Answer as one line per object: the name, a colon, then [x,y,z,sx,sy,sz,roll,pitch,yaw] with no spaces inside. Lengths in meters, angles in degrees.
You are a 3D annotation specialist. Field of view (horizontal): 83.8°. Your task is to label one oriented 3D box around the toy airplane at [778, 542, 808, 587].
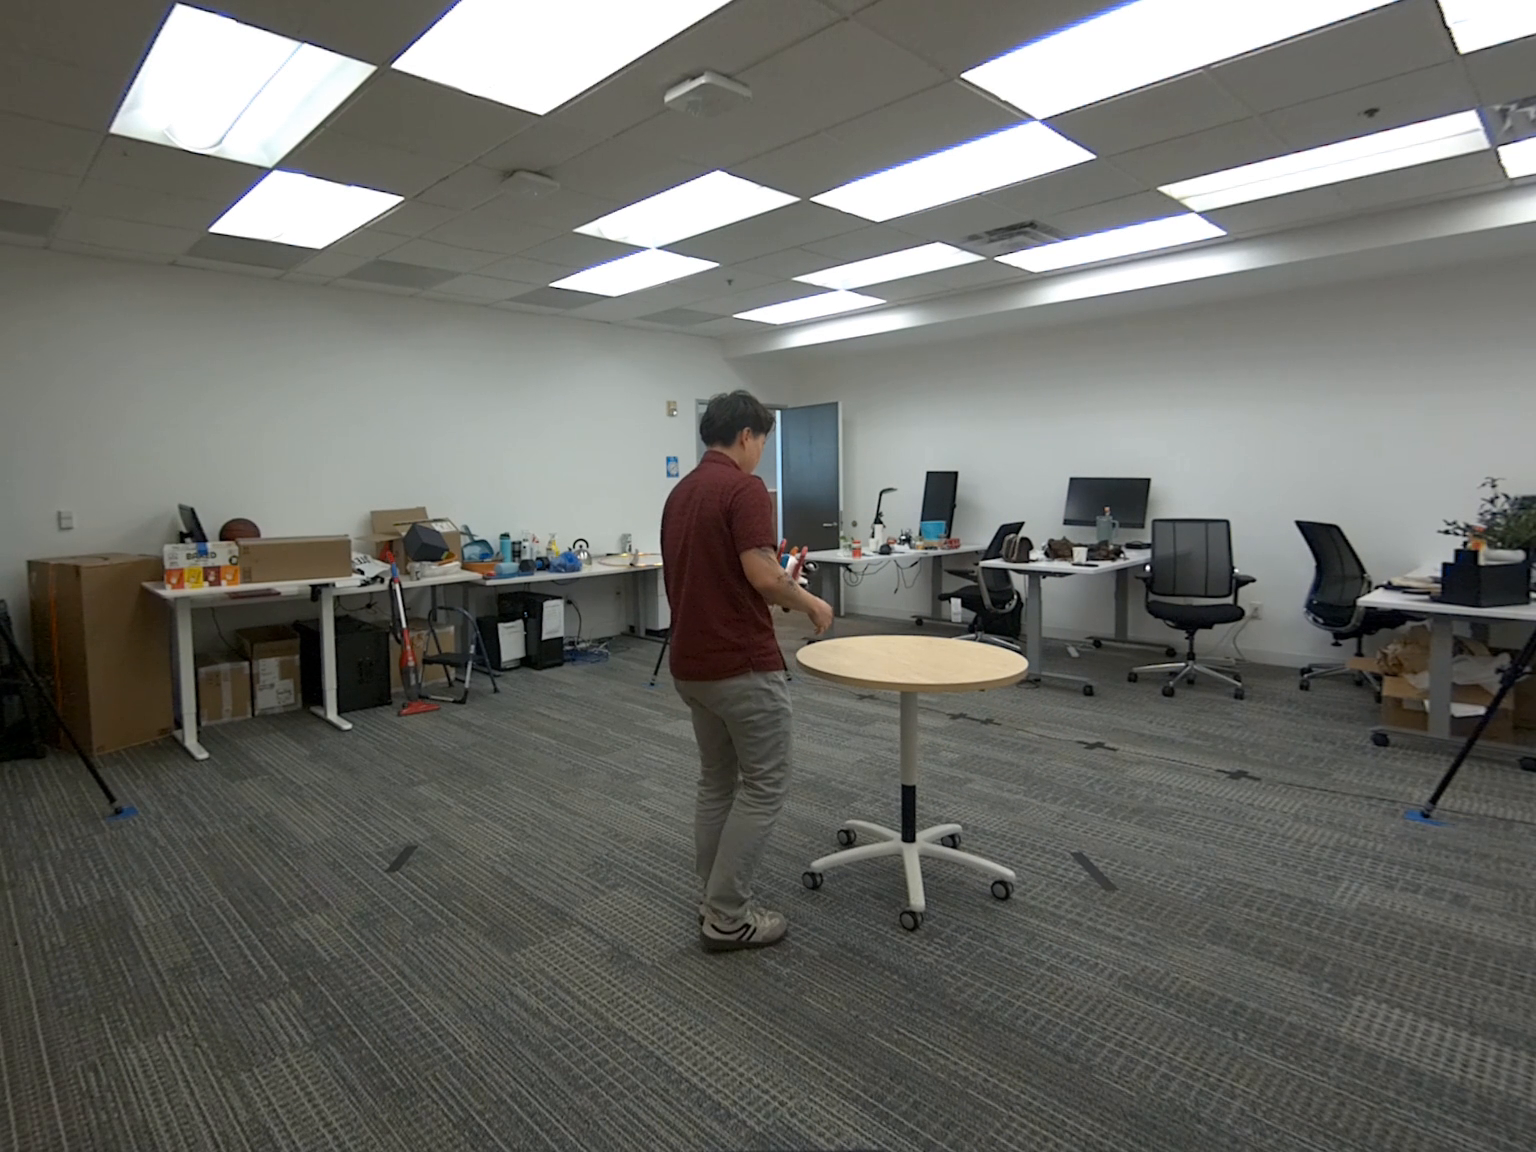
toy airplane: [0.069,0.004,2.951,0.159,0.250,0.256,26,11,12]
